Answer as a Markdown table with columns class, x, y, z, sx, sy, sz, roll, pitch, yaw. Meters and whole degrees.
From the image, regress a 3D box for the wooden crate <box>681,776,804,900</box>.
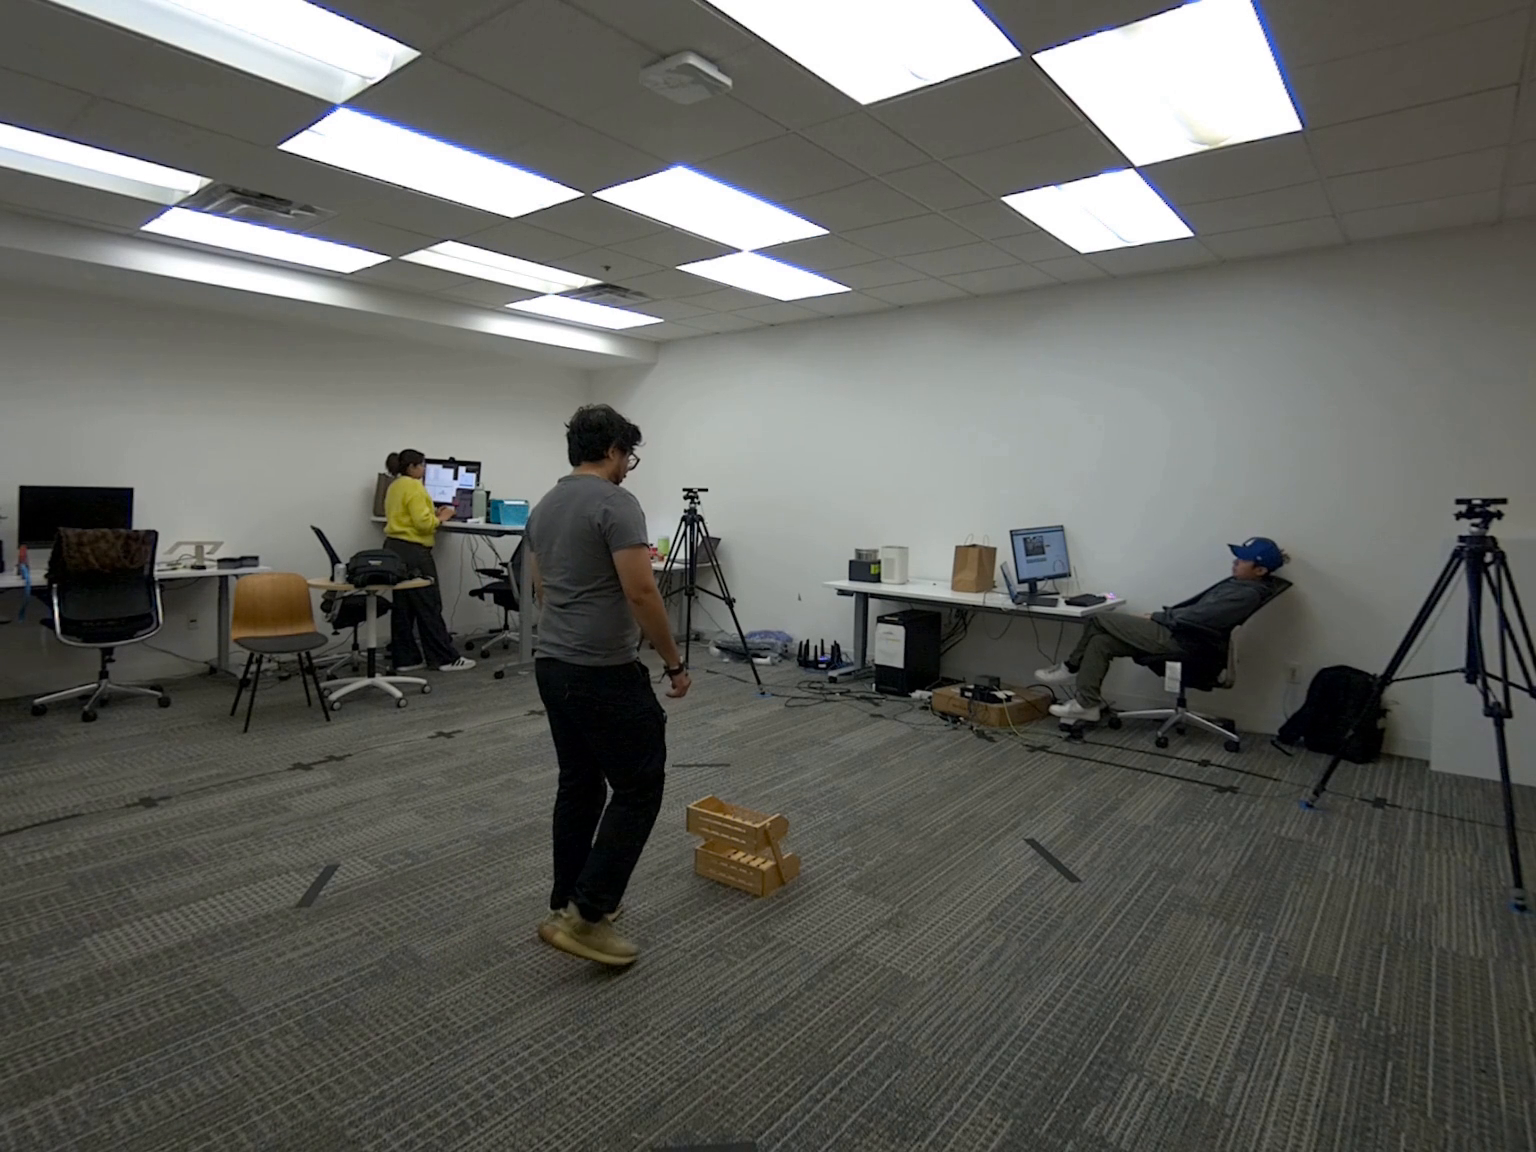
| class | x | y | z | sx | sy | sz | roll | pitch | yaw |
| --- | --- | --- | --- | --- | --- | --- | --- | --- | --- |
| wooden crate | -0.094 | 0.936 | 3.059 | 0.335 | 0.272 | 0.294 | 4 | 6 | 34 |
